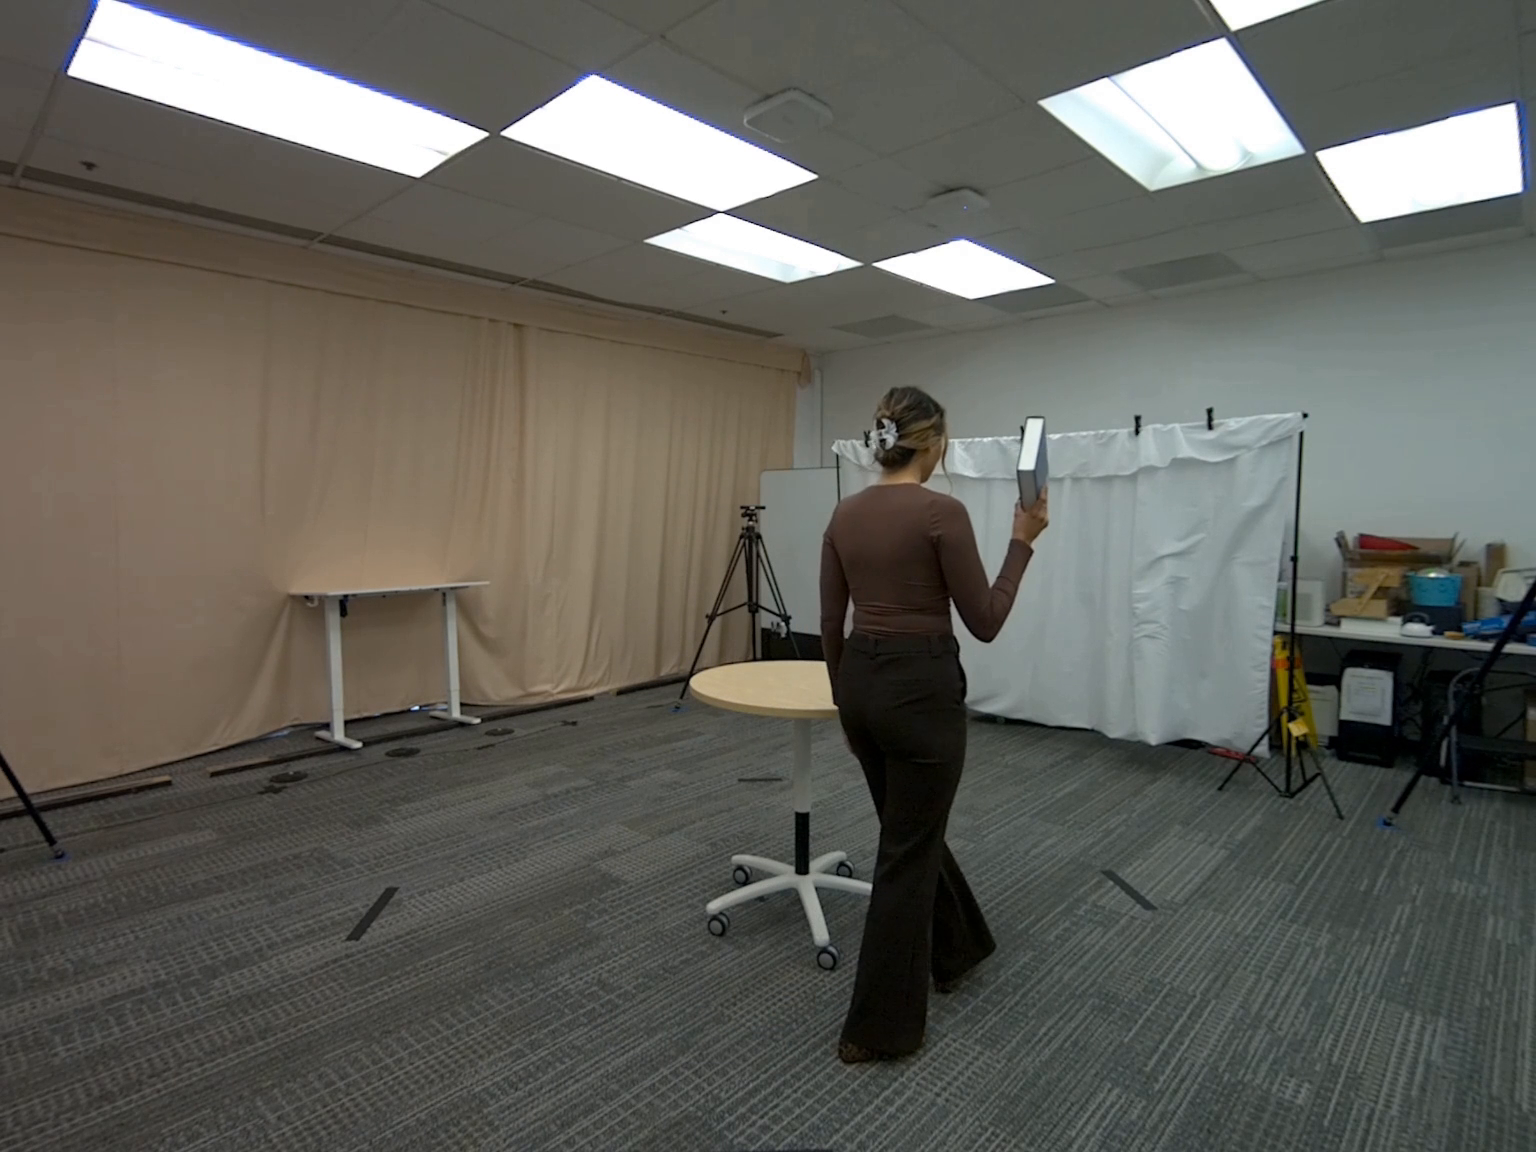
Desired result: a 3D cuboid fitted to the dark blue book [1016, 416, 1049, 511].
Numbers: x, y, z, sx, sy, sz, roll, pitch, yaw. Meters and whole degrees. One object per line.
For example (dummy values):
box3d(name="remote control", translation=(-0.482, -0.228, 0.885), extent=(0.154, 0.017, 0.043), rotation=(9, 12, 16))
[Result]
box3d(name="dark blue book", translation=(0.677, -0.263, 2.111), extent=(0.046, 0.164, 0.237), rotation=(6, -28, 25))
